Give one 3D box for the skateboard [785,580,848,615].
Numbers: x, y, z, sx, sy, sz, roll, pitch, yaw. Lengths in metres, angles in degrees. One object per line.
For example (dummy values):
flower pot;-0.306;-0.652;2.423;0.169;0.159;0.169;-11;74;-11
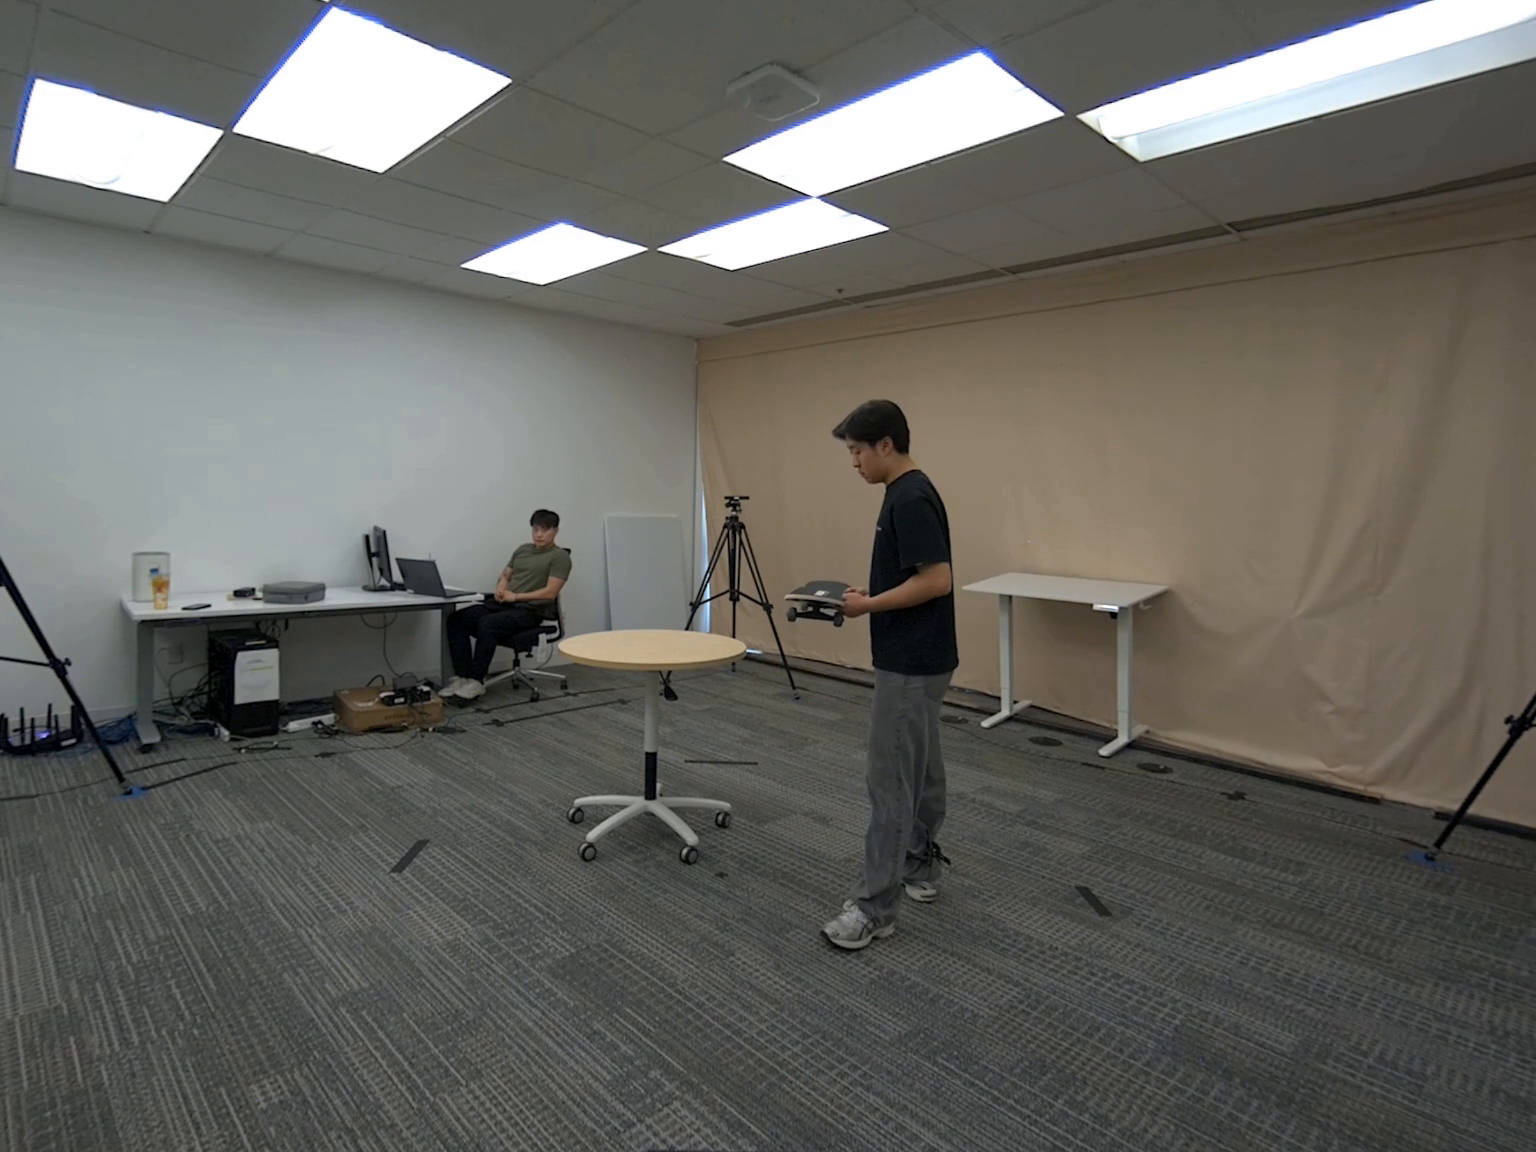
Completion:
skateboard;0.179;0.096;2.971;0.195;0.110;0.778;6;4;11
